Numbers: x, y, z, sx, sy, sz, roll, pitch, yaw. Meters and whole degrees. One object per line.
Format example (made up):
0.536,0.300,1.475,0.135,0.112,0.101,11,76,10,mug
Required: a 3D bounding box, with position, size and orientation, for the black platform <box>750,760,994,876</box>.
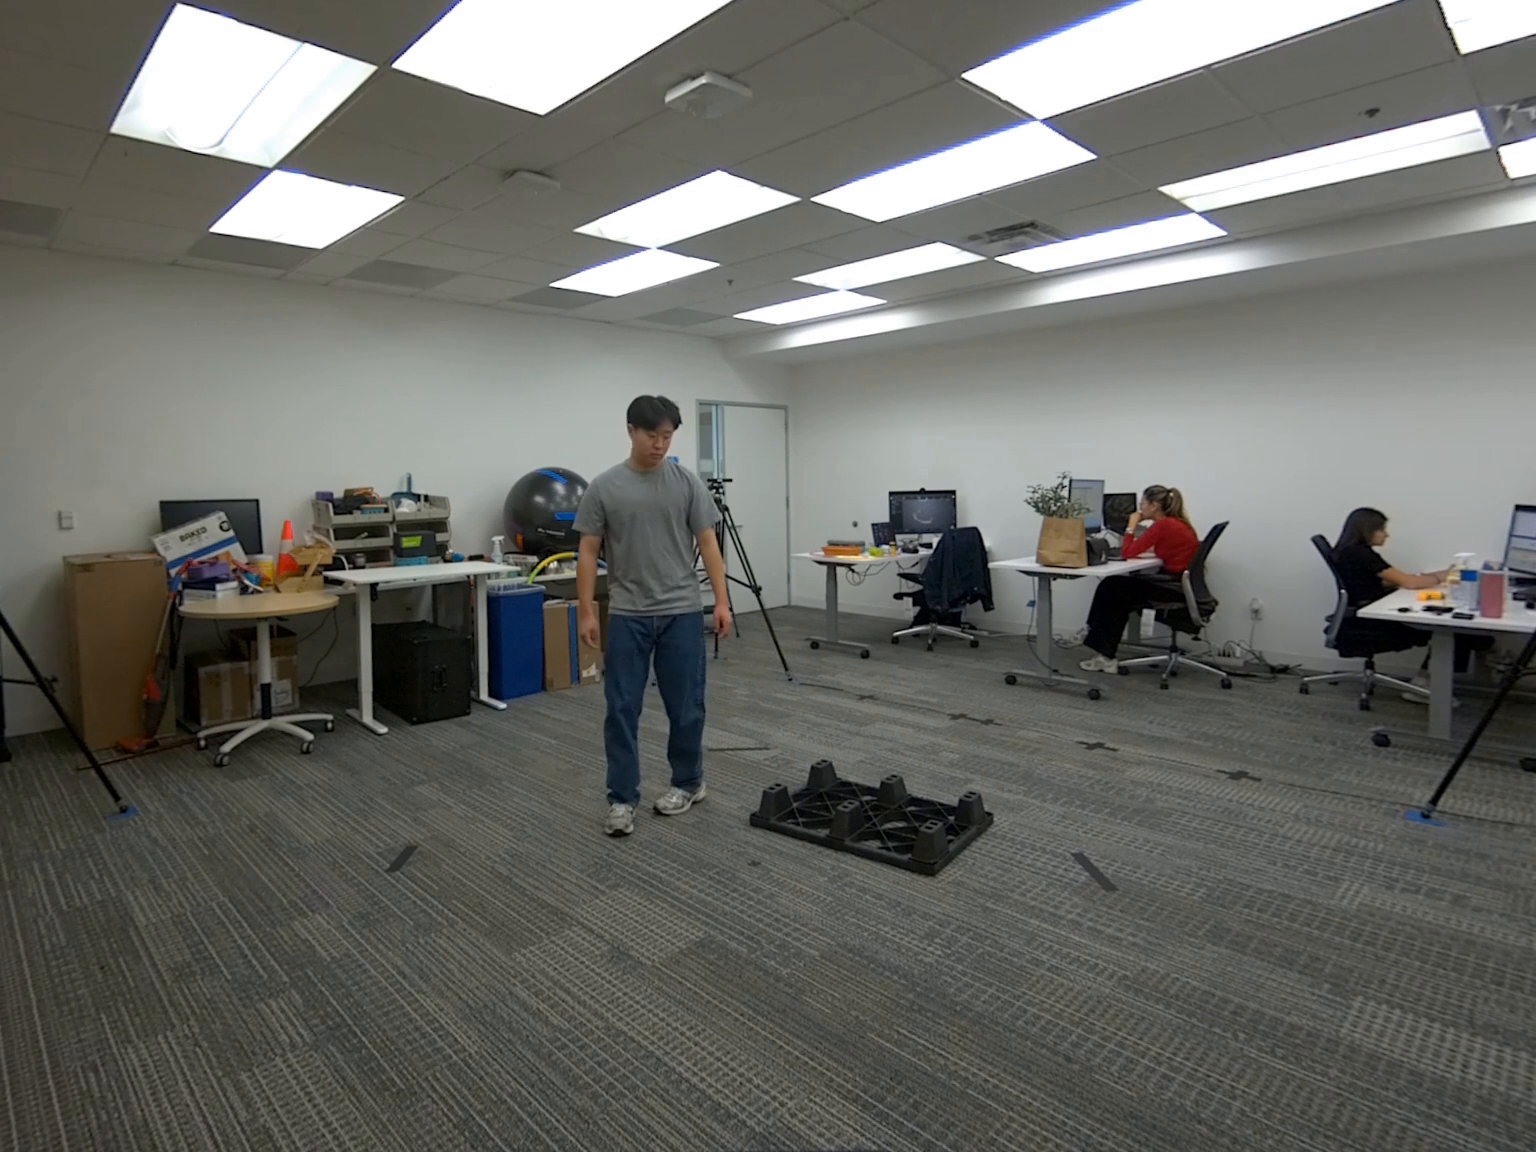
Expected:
0.422,0.933,3.441,0.829,0.142,0.590,4,8,36,black platform
